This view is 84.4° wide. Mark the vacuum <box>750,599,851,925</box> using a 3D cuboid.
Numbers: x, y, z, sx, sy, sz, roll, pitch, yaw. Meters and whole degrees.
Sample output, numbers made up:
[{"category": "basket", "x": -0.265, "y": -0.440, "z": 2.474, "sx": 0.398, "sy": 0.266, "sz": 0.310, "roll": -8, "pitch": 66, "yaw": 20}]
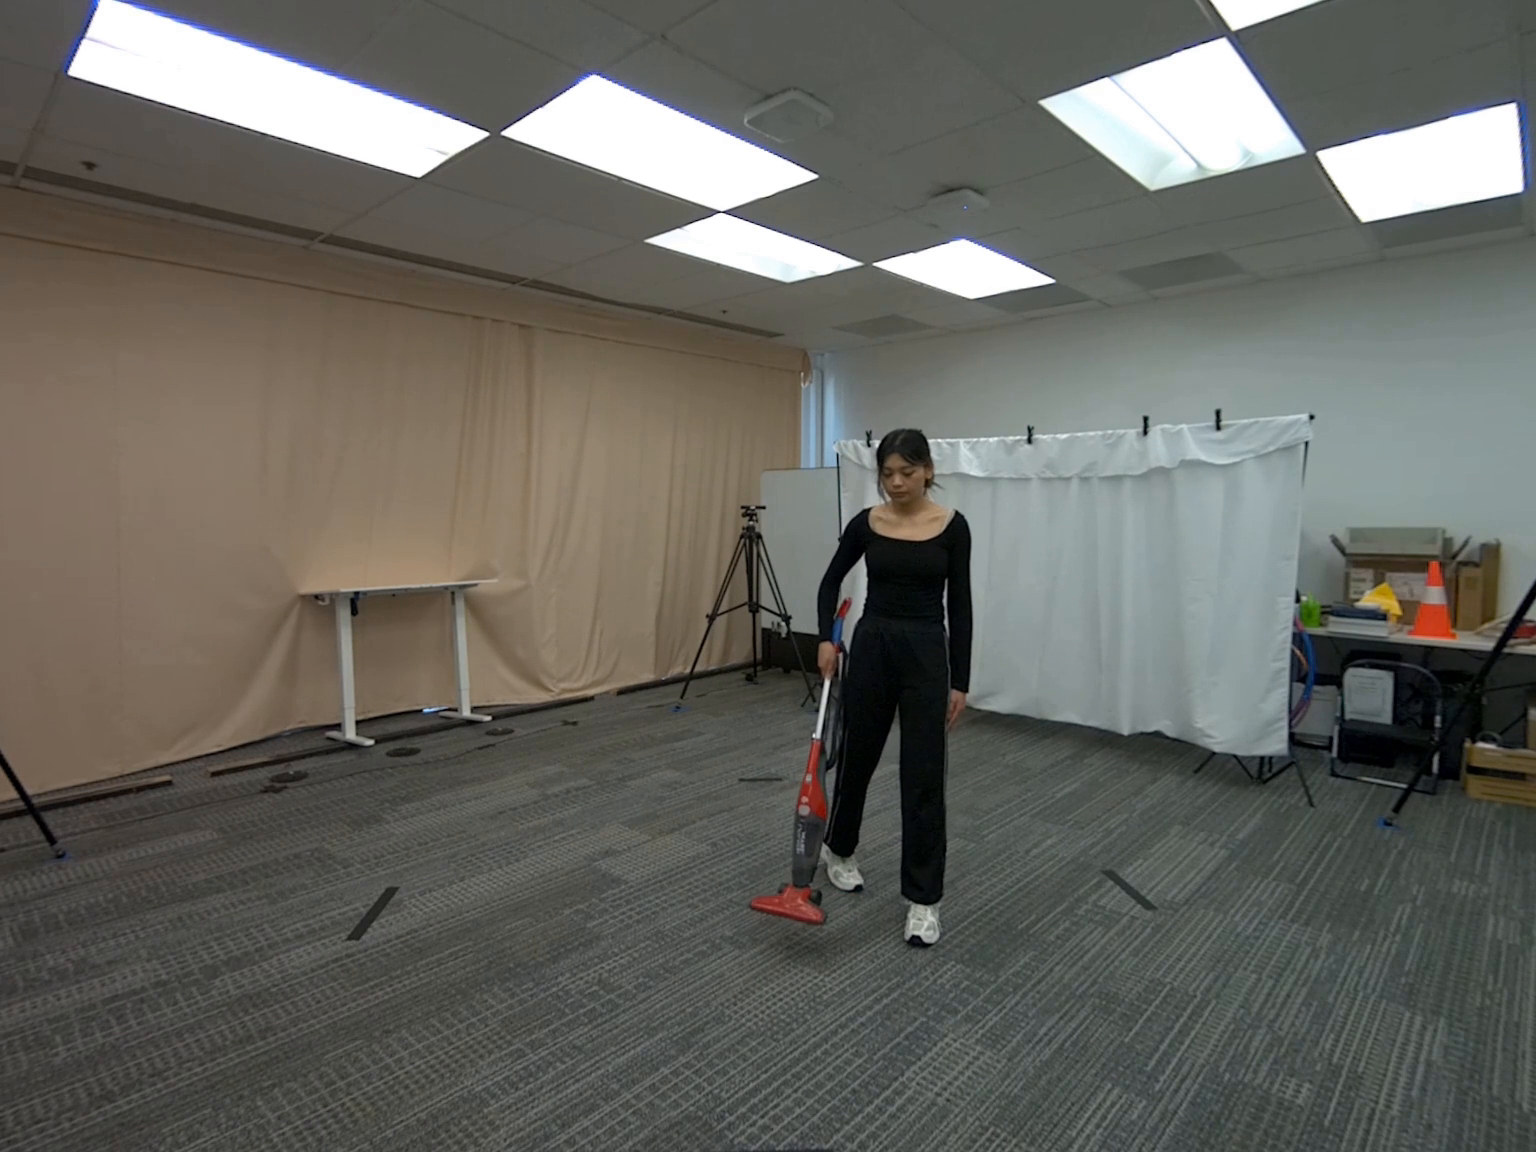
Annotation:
[{"category": "vacuum", "x": 0.184, "y": 0.582, "z": 2.831, "sx": 0.259, "sy": 1.057, "sz": 0.139, "roll": 0, "pitch": -26, "yaw": 29}]
